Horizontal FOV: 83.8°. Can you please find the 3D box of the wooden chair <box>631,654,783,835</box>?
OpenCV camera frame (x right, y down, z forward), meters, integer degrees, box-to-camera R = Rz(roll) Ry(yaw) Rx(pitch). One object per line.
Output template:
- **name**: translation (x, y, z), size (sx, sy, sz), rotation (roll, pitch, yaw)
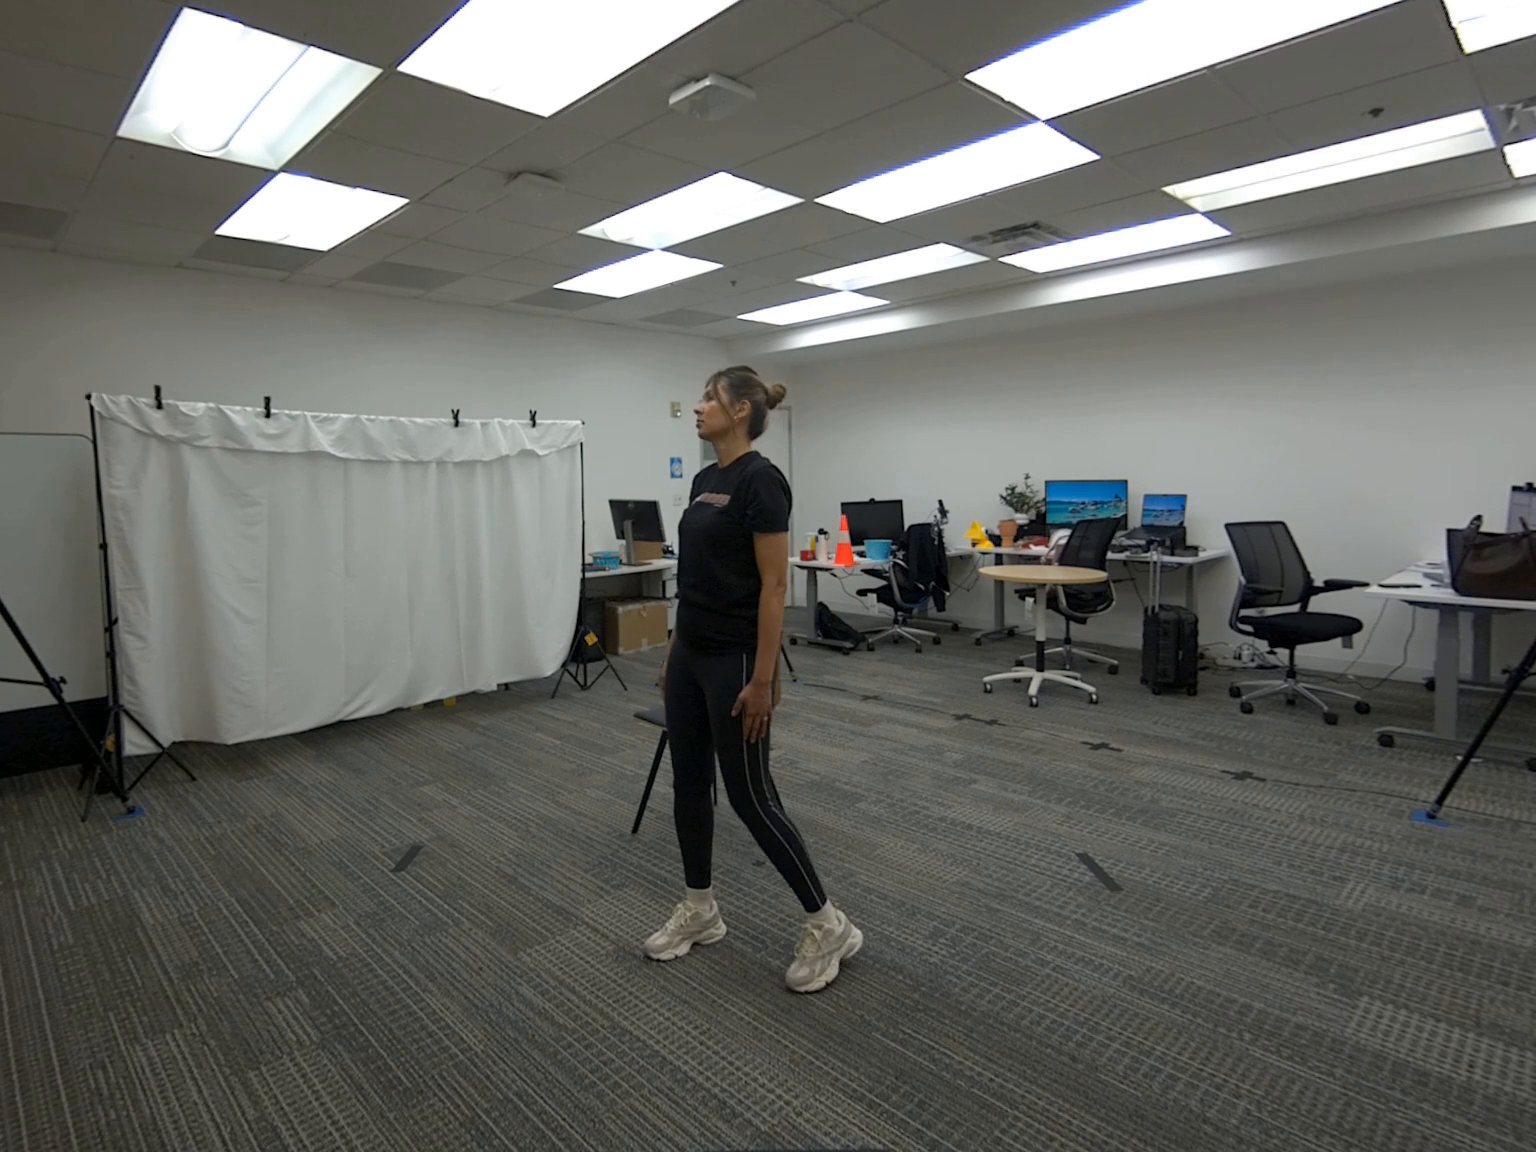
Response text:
- **wooden chair**: translation (-0.233, 0.596, 3.354), size (0.465, 0.872, 0.540), rotation (-5, 10, -44)
